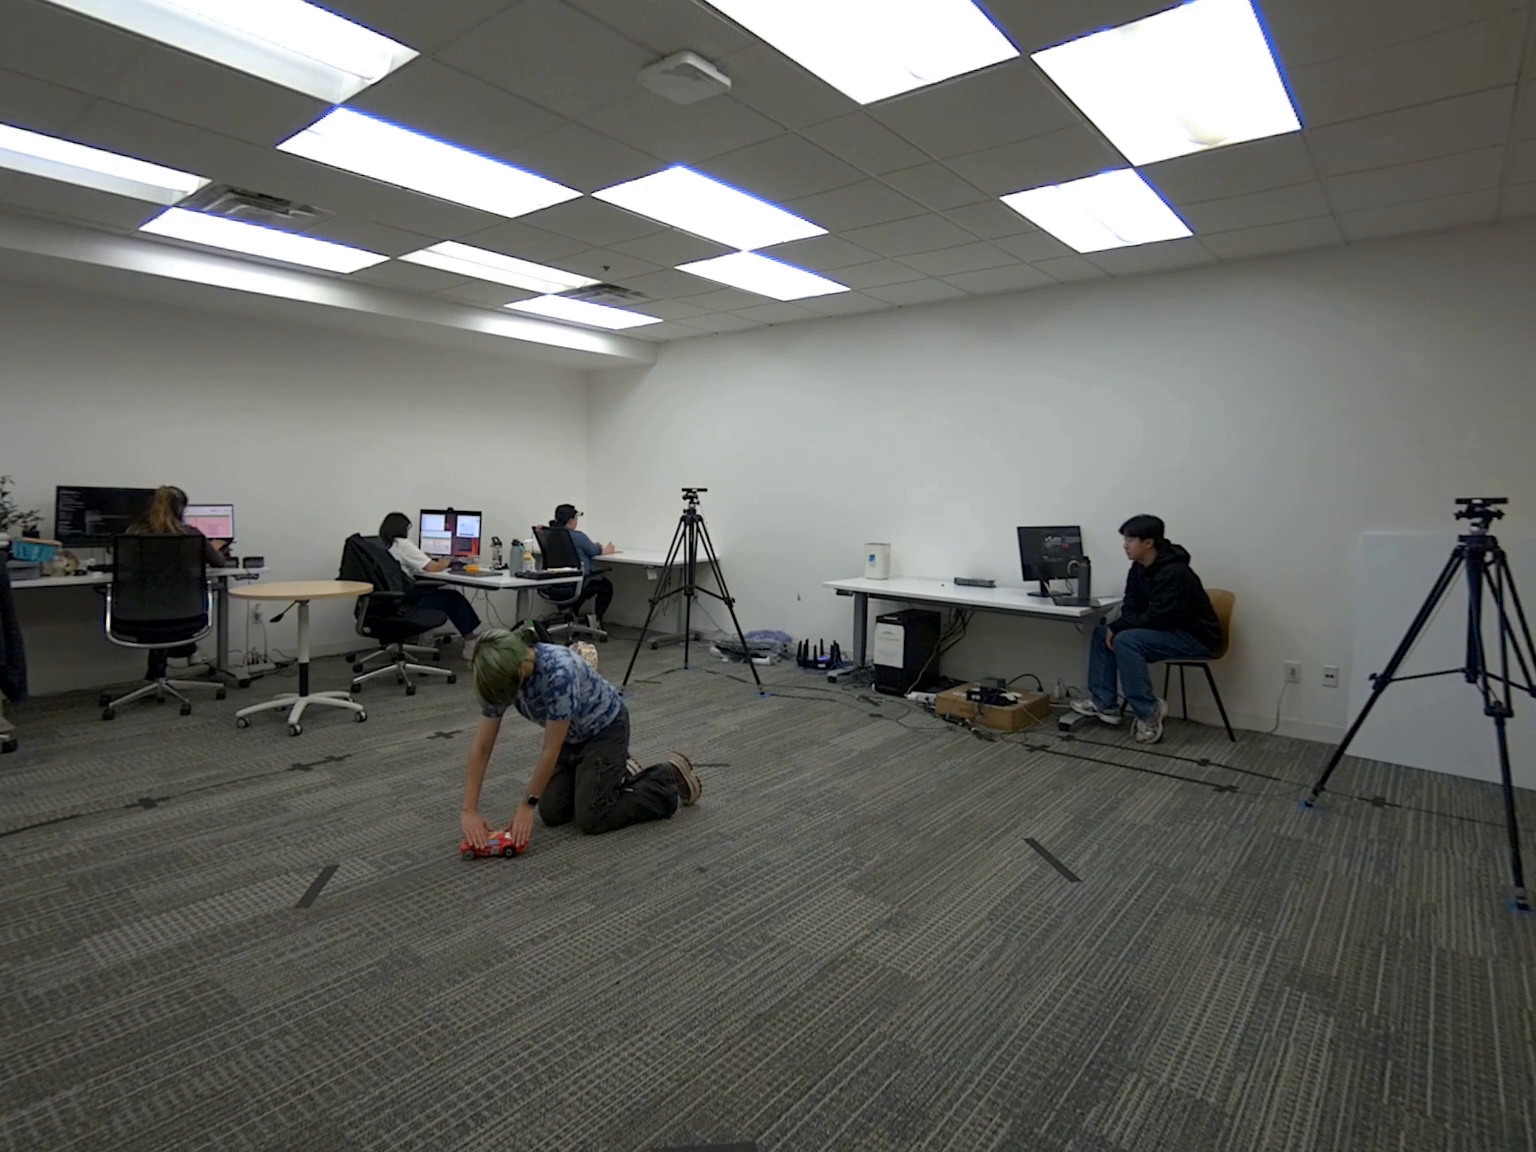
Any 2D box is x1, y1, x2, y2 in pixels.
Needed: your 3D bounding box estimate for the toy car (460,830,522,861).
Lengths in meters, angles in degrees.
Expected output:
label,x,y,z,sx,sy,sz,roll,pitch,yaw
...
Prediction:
label,x,y,z,sx,sy,sz,roll,pitch,yaw
toy car,-1.046,1.019,3.221,0.253,0.083,0.132,-11,5,-8
